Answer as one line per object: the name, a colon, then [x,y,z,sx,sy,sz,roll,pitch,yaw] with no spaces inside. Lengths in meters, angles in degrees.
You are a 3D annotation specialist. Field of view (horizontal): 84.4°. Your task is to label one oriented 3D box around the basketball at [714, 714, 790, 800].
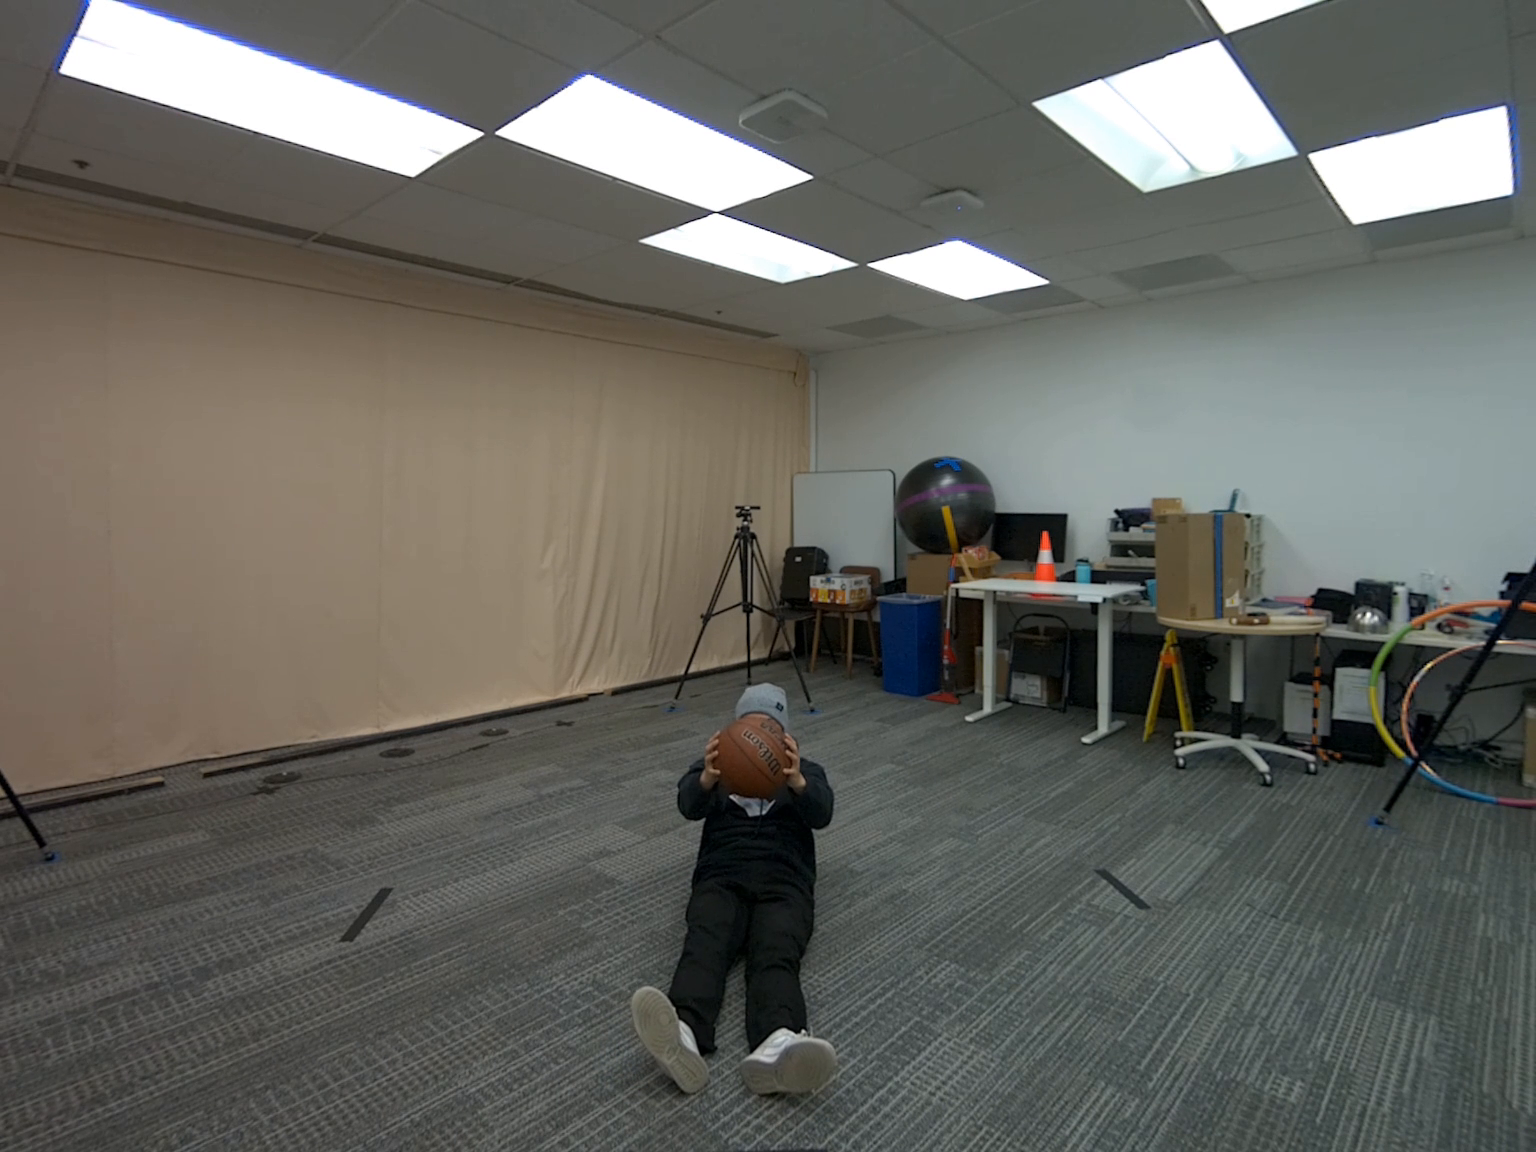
basketball: [-0.049,0.547,2.548,0.236,0.235,0.237,0,4,-2]
